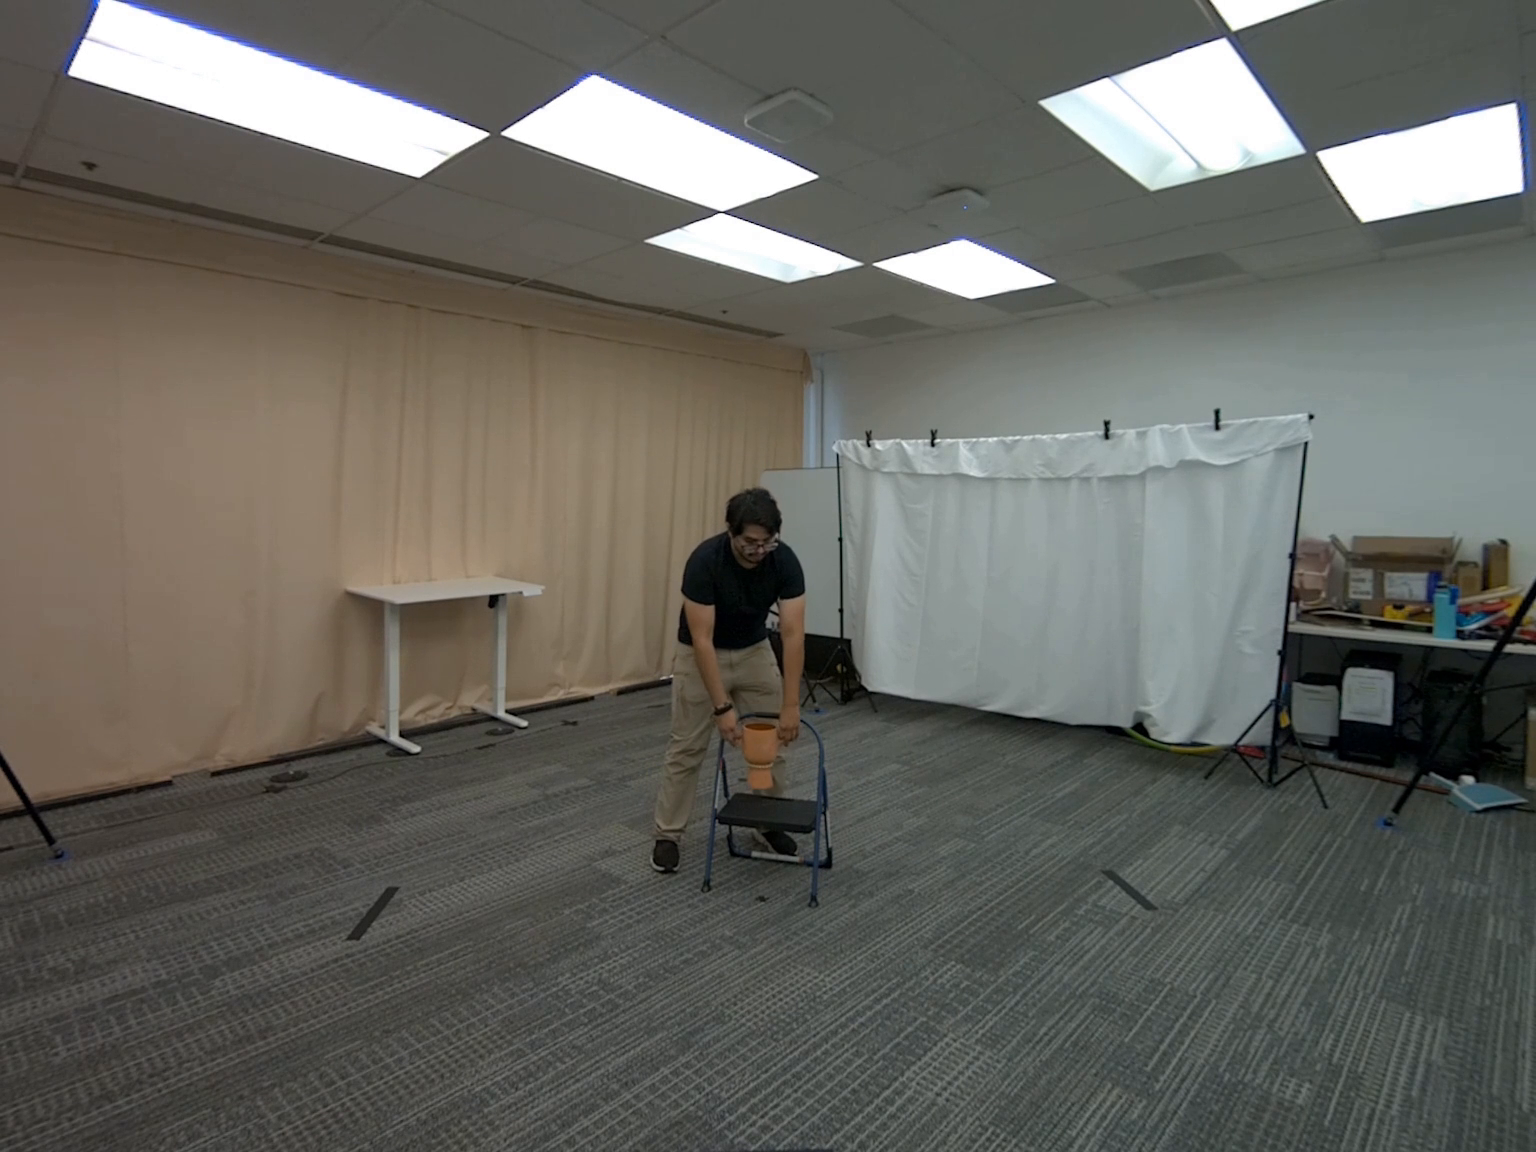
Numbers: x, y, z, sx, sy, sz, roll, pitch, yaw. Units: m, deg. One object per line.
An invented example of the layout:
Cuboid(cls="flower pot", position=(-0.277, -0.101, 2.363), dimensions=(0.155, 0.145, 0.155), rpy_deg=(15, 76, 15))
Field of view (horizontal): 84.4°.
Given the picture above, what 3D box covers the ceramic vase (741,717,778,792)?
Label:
Cuboid(cls="ceramic vase", position=(-0.027, 0.664, 3.125), dimensions=(0.164, 0.219, 0.131), rpy_deg=(-1, 5, 36))
